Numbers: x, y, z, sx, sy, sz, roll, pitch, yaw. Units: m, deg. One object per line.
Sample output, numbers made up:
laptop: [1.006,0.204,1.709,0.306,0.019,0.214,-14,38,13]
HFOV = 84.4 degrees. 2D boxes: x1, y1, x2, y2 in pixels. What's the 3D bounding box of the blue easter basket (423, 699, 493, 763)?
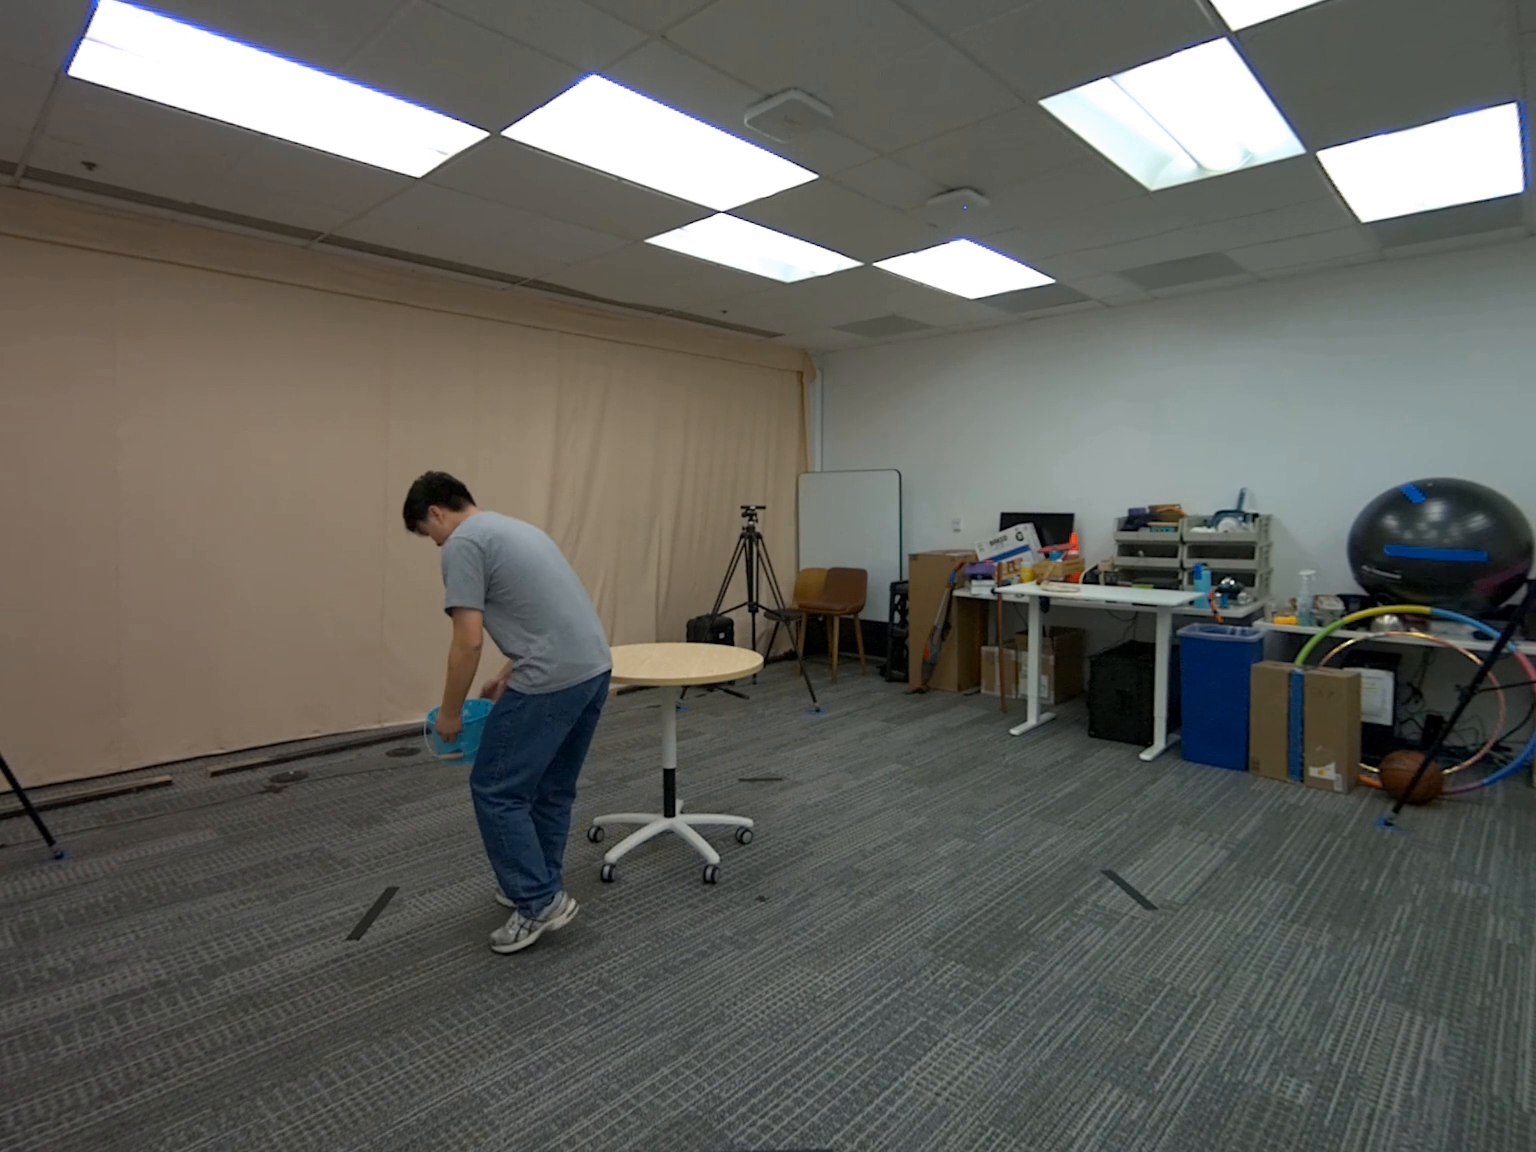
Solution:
blue easter basket: [-1.029,0.531,2.846,0.243,0.155,0.245,-2,10,-1]
